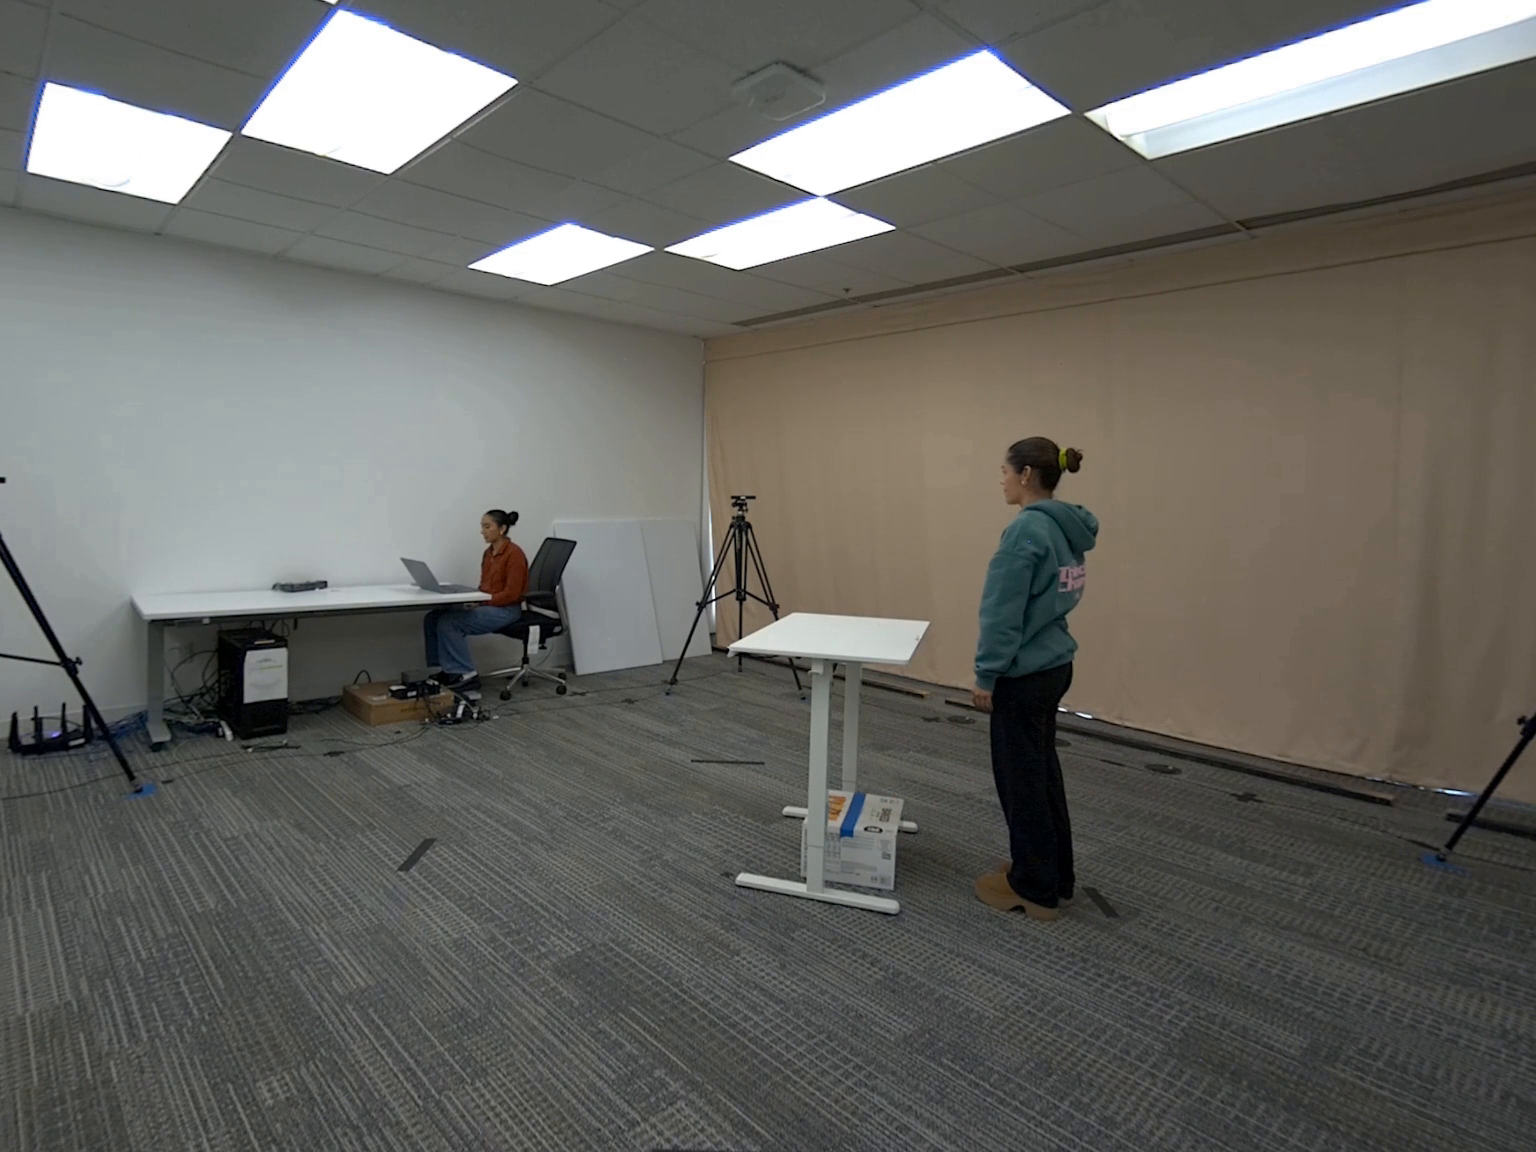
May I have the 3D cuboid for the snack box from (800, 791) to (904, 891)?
[{"bbox_3d":[0.326,1.000,3.228,0.344,0.205,0.401,2,5,14],"label":"snack box"}]
